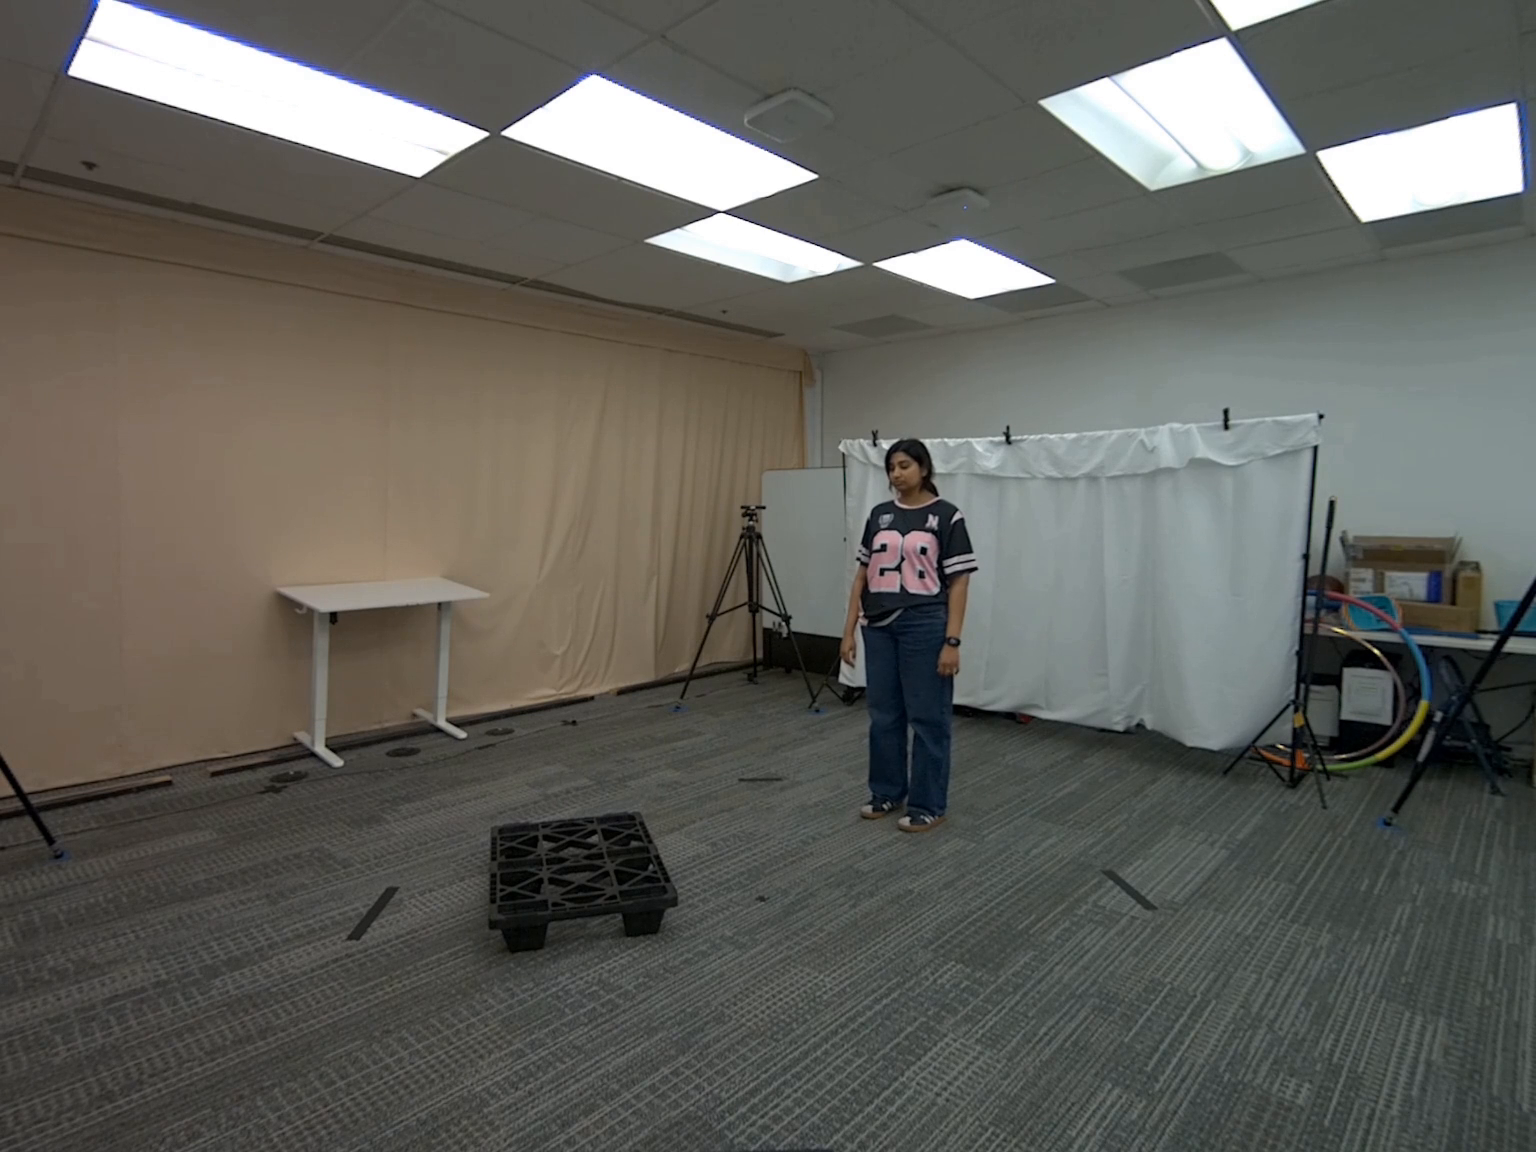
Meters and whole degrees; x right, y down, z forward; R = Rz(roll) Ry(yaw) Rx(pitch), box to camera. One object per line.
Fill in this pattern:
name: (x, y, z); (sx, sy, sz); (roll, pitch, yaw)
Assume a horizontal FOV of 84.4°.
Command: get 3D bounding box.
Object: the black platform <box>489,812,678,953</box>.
black platform: (-0.689, 1.077, 3.037); (0.595, 0.143, 0.821); (-1, 5, -16)
